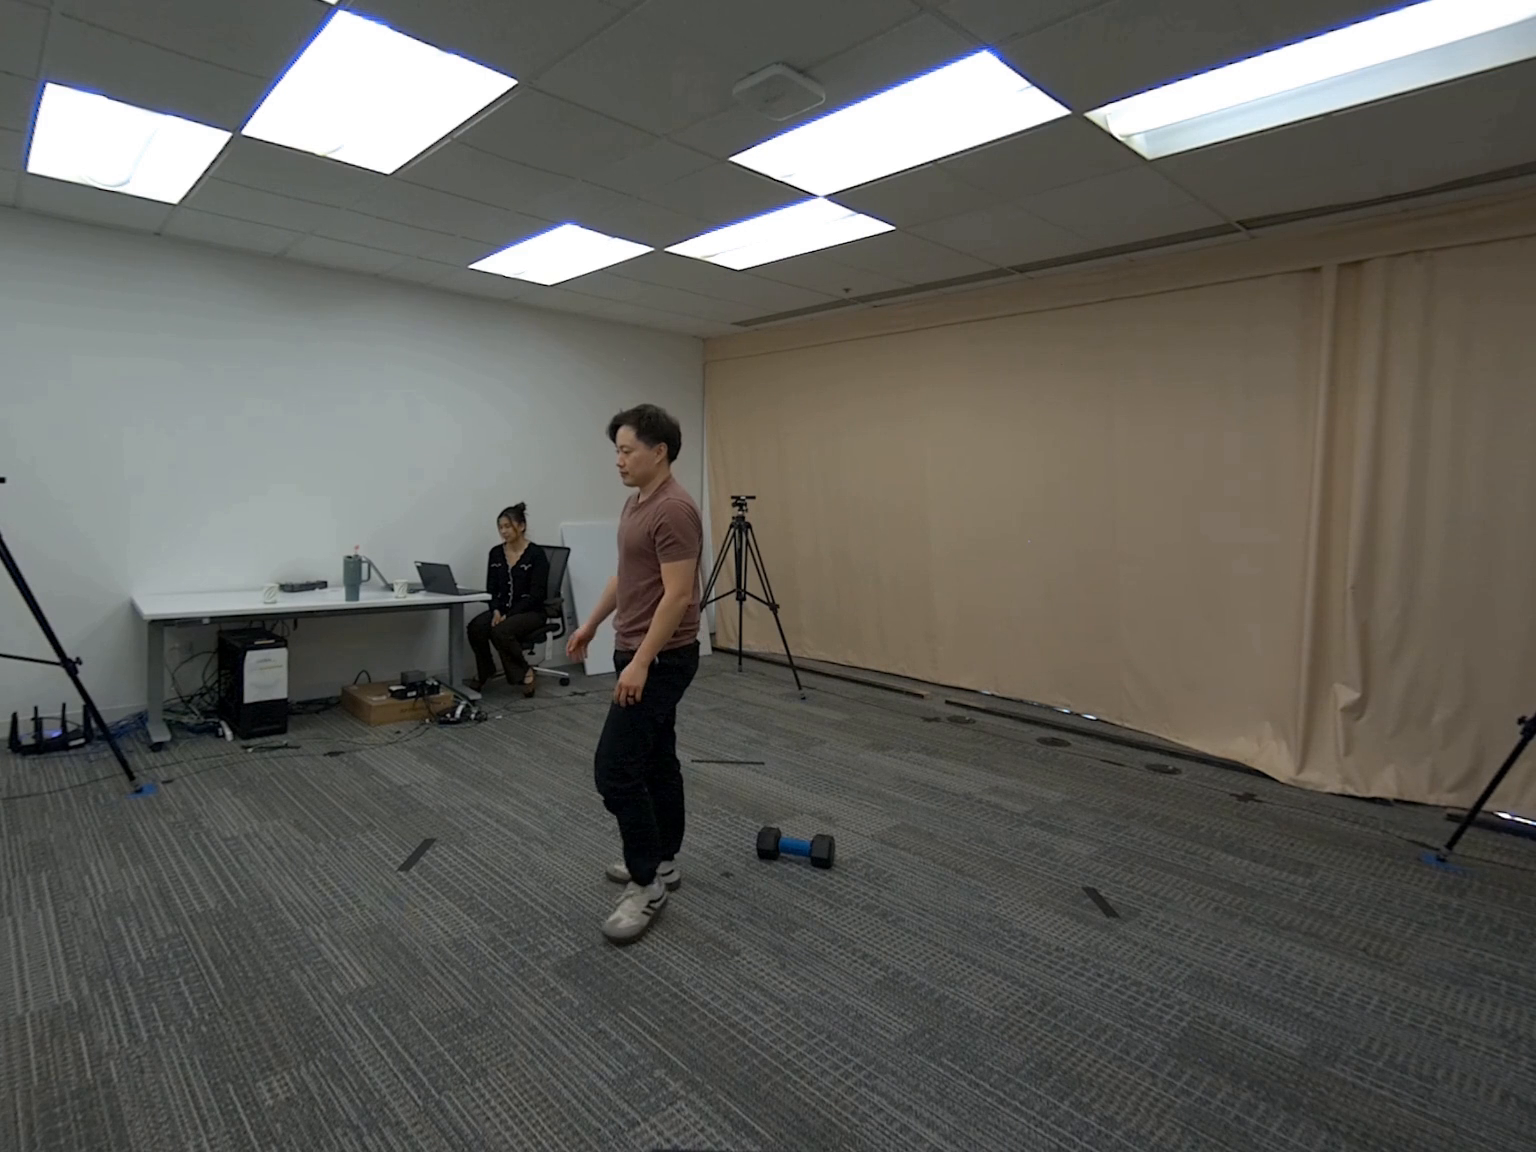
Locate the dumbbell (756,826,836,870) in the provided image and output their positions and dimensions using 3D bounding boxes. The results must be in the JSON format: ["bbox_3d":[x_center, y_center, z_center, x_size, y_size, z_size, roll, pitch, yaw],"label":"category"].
[{"bbox_3d":[0.100,1.041,3.234,0.298,0.120,0.110,3,37,18],"label":"dumbbell"}]
